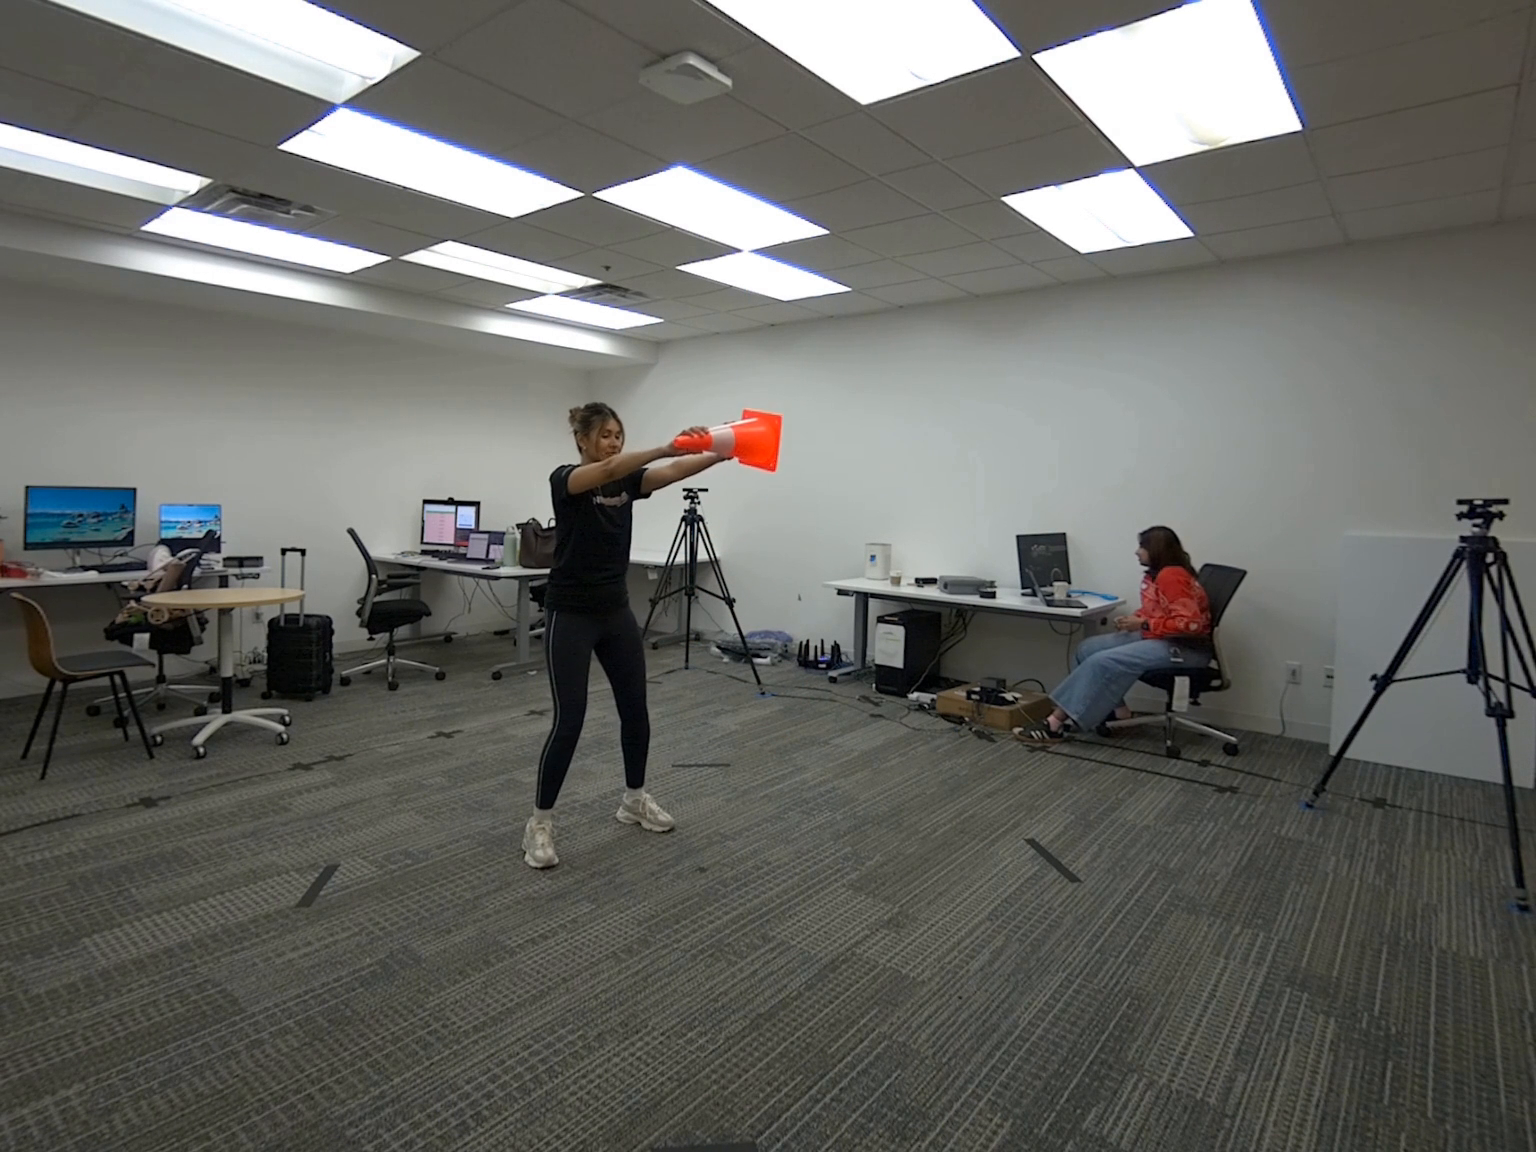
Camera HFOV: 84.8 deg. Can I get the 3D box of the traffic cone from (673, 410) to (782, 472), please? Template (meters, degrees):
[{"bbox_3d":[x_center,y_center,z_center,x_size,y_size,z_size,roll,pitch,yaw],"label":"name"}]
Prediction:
[{"bbox_3d":[-0.175,-0.443,2.862,0.374,0.202,0.211,-11,21,-42],"label":"traffic cone"}]
